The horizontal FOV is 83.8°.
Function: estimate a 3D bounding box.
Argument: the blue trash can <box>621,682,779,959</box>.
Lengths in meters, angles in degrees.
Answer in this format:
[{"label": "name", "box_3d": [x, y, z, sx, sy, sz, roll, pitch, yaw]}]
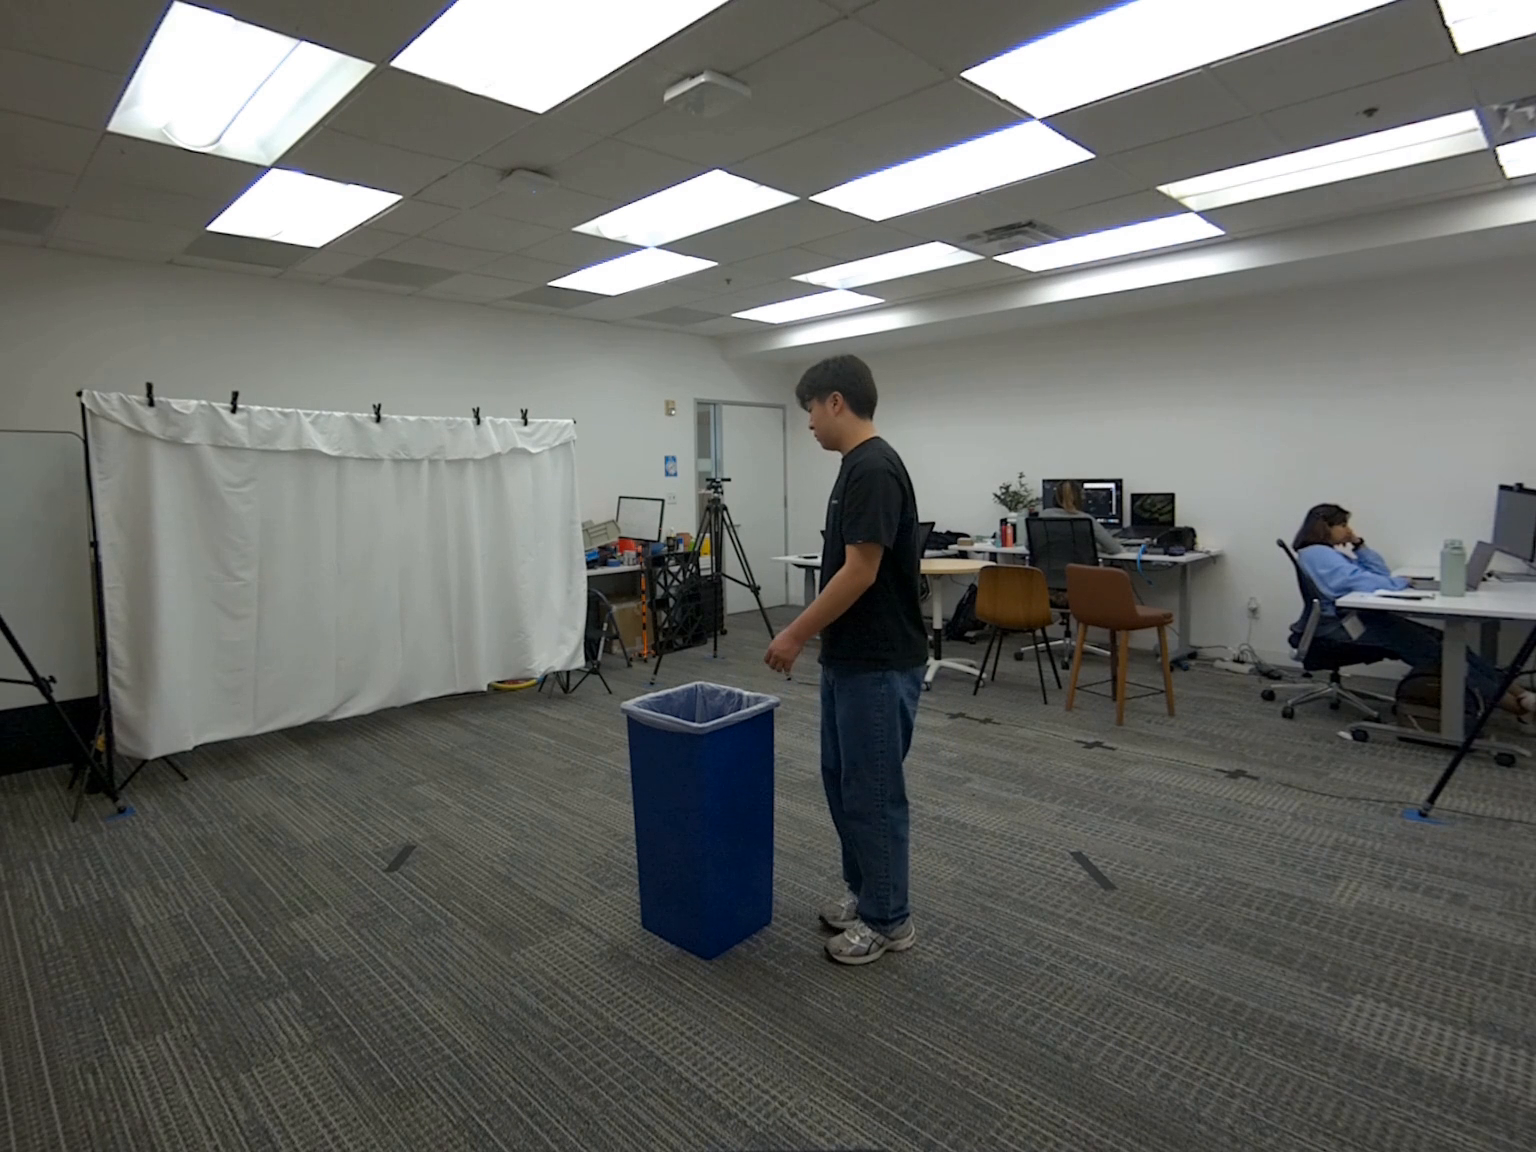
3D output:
[{"label": "blue trash can", "box_3d": [-0.195, 0.738, 2.653, 0.389, 0.711, 0.364, 2, 5, 41]}]
